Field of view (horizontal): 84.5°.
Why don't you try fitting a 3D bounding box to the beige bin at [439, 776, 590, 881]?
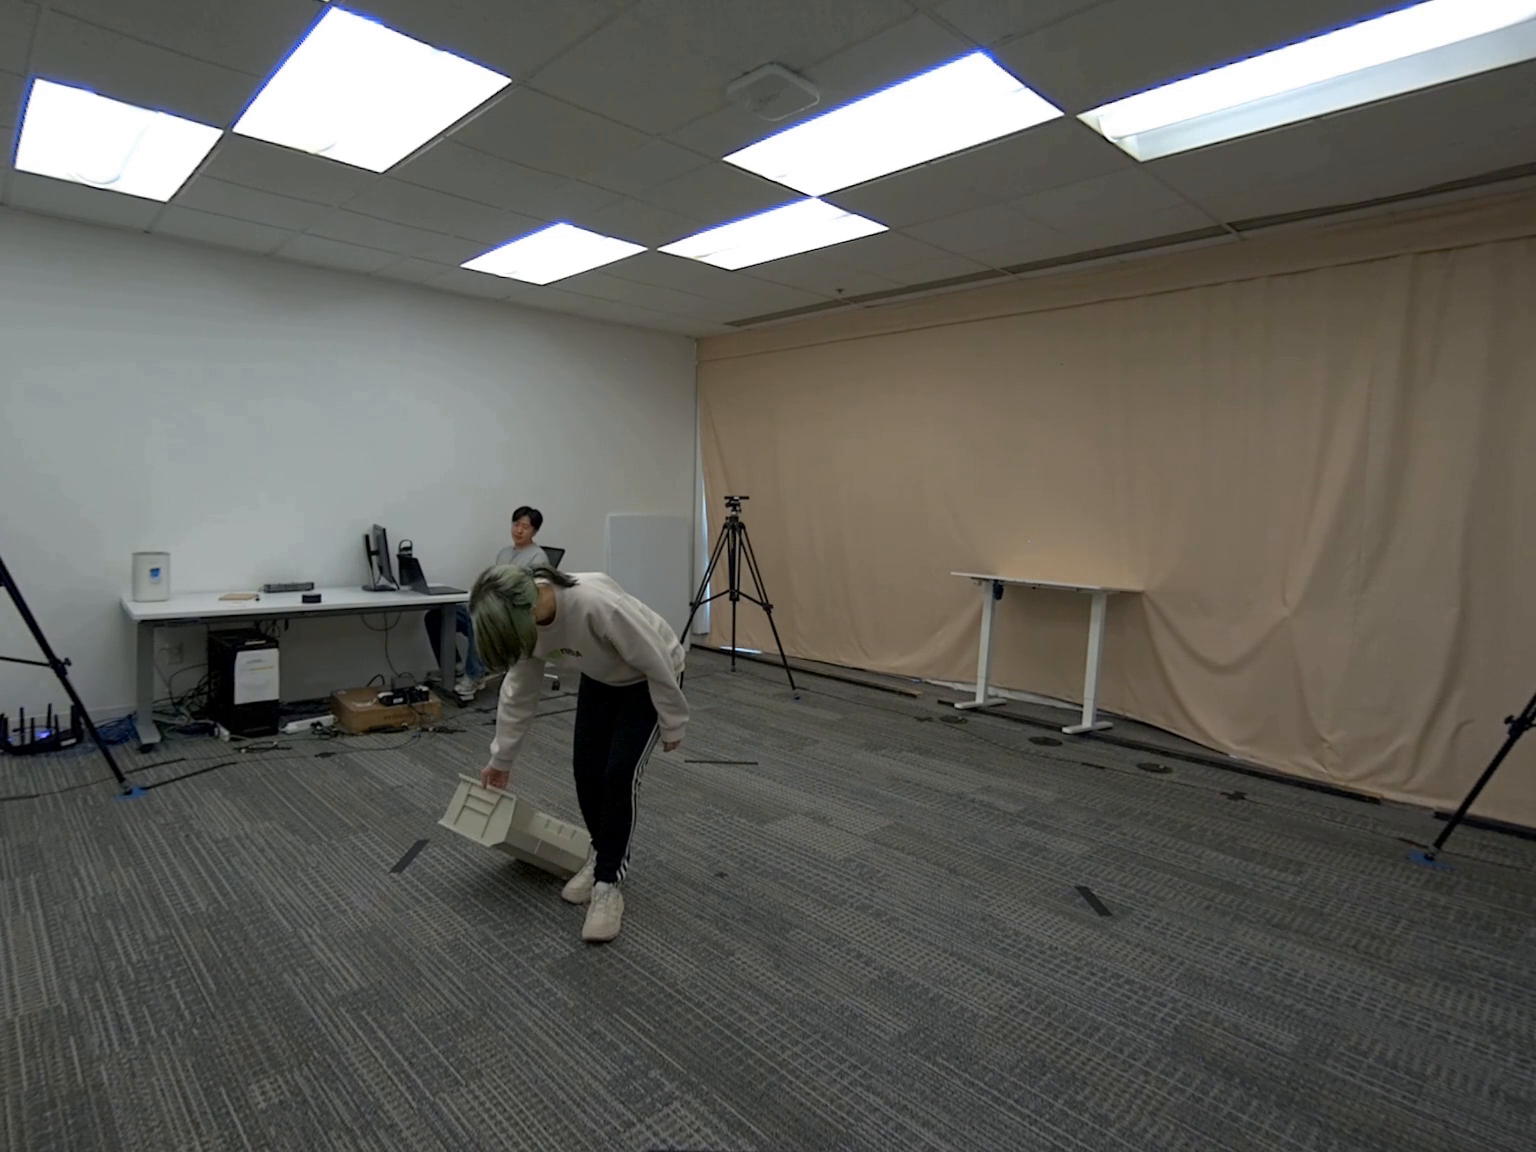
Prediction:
[{"bbox_3d":[-0.892,0.906,3.001,0.386,0.190,0.409,3,-29,38],"label":"beige bin"}]
